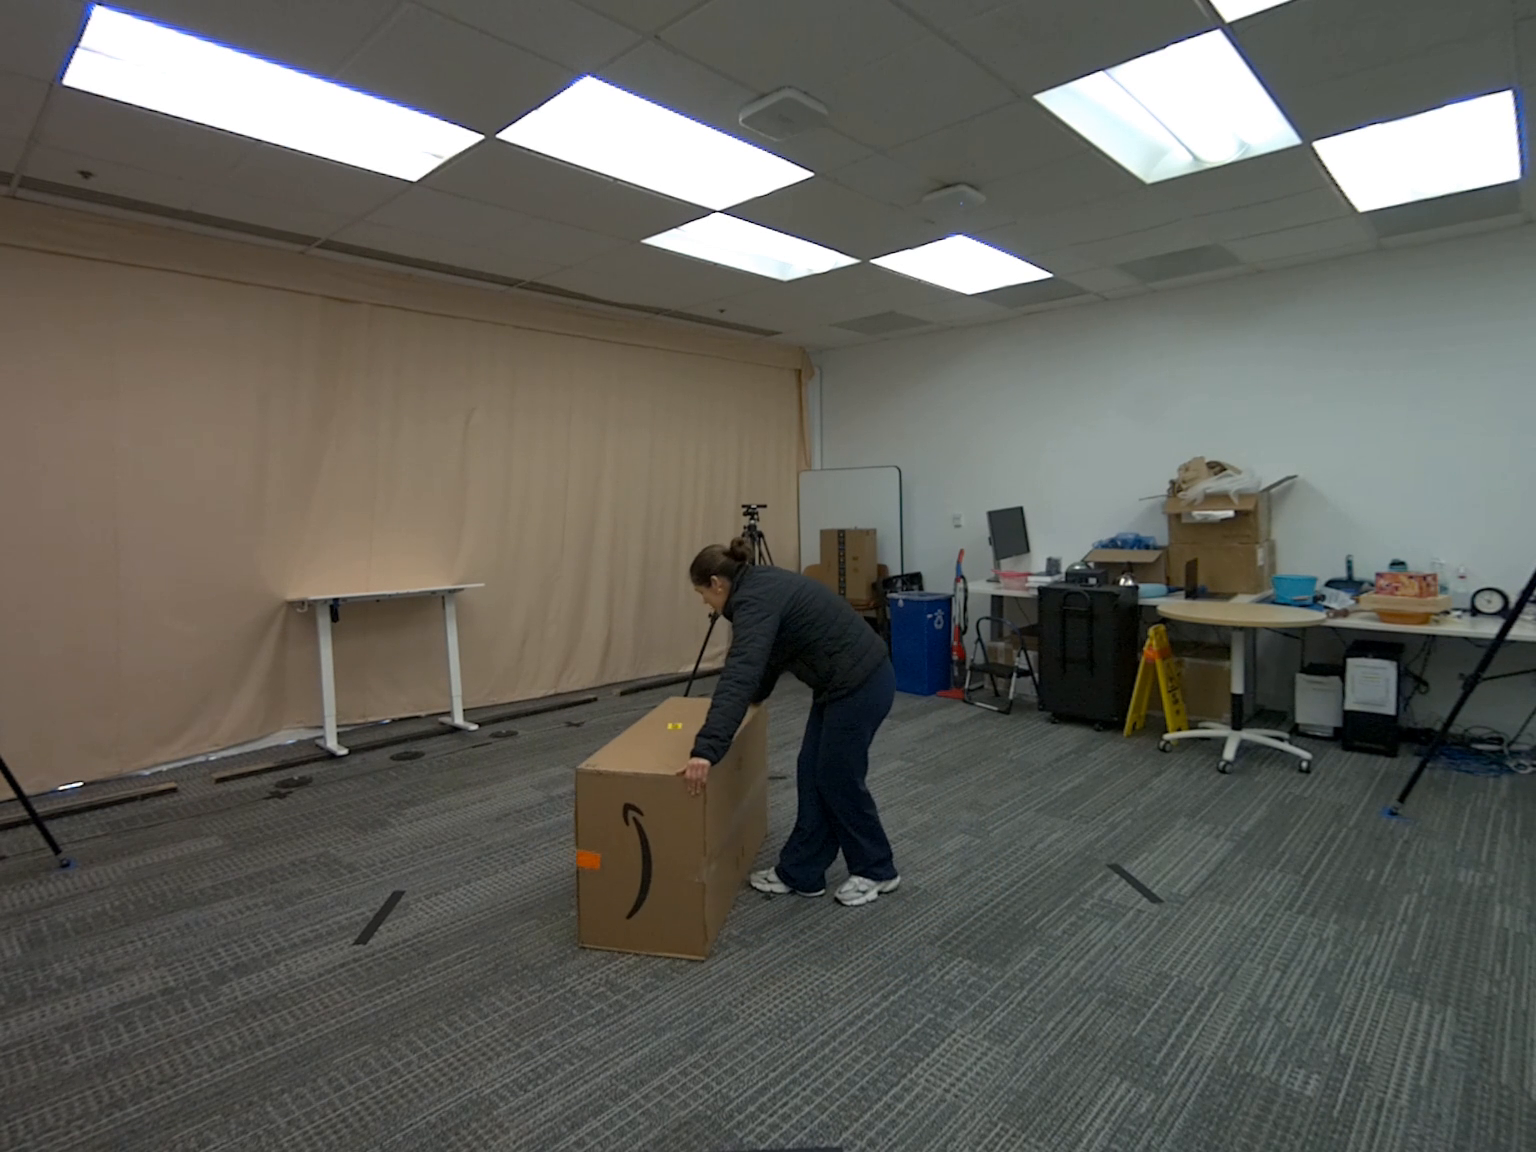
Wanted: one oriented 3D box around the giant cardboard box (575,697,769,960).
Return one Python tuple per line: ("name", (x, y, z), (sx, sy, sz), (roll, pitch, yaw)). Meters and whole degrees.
("giant cardboard box", (-0.294, 0.846, 3.103), (0.452, 0.583, 1.016), (0, 4, 10))
